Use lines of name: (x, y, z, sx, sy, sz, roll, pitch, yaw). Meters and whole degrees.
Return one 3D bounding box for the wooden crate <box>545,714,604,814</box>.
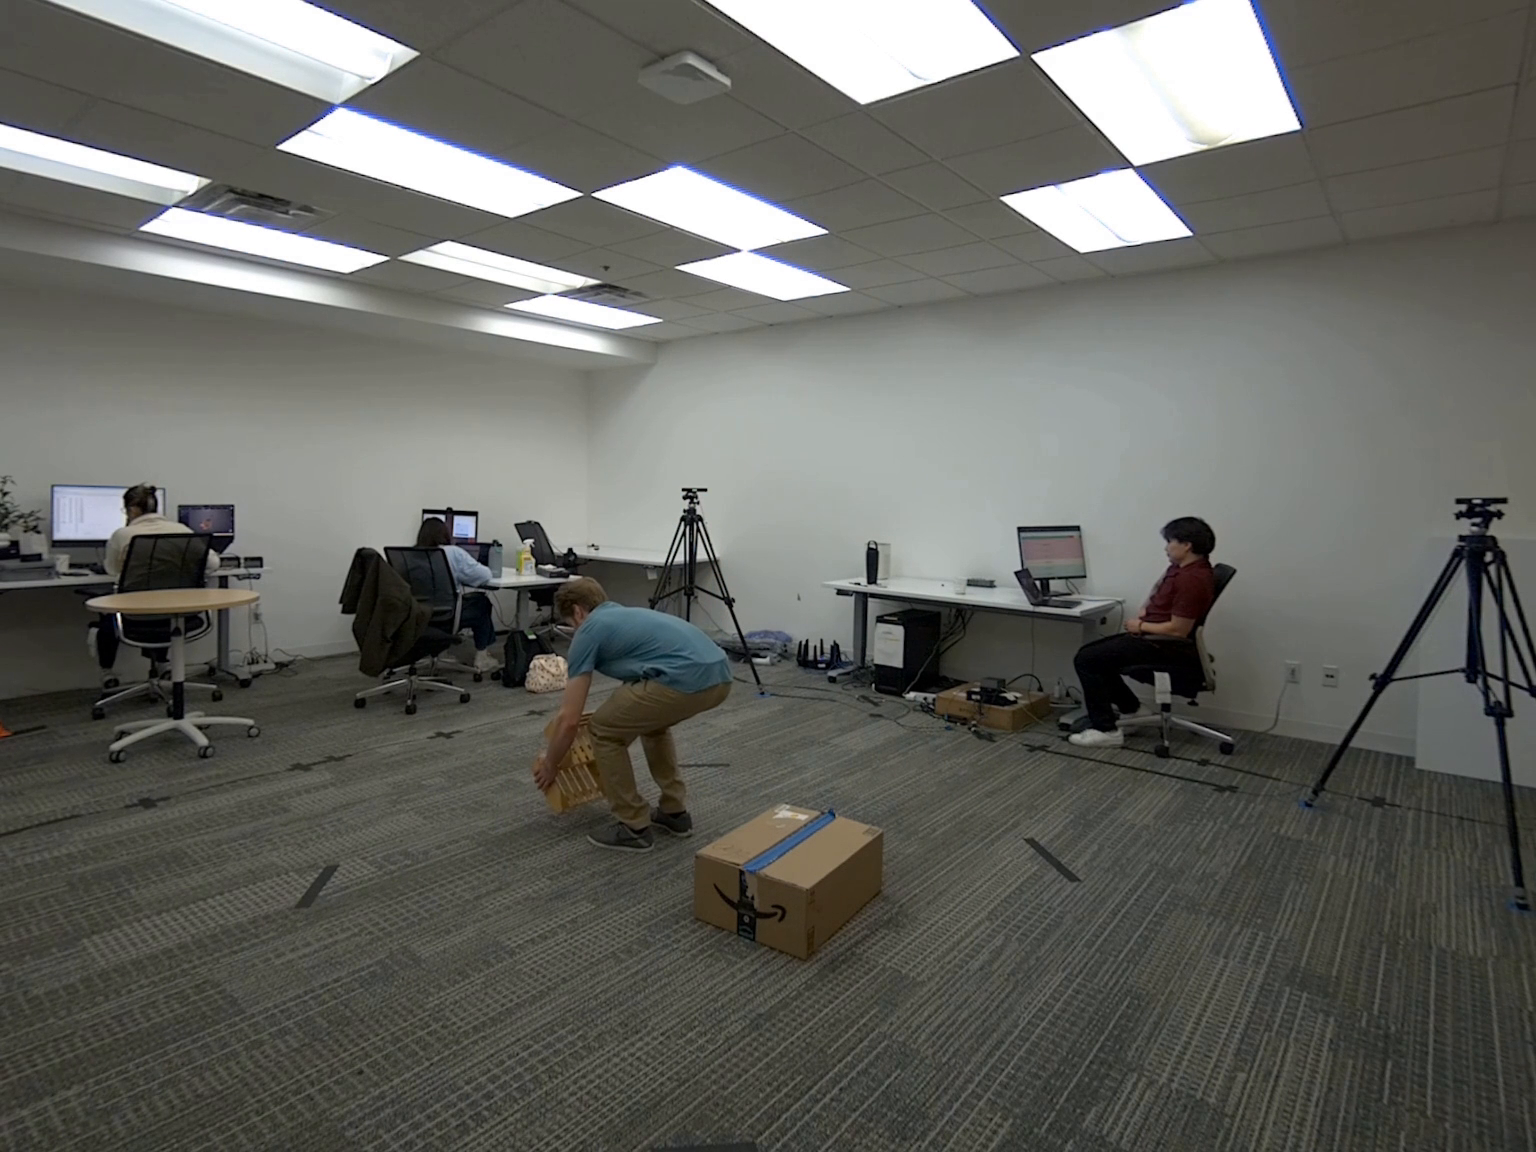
wooden crate: (-0.785, 0.768, 3.569, 0.312, 0.272, 0.315, 50, 27, 24)
